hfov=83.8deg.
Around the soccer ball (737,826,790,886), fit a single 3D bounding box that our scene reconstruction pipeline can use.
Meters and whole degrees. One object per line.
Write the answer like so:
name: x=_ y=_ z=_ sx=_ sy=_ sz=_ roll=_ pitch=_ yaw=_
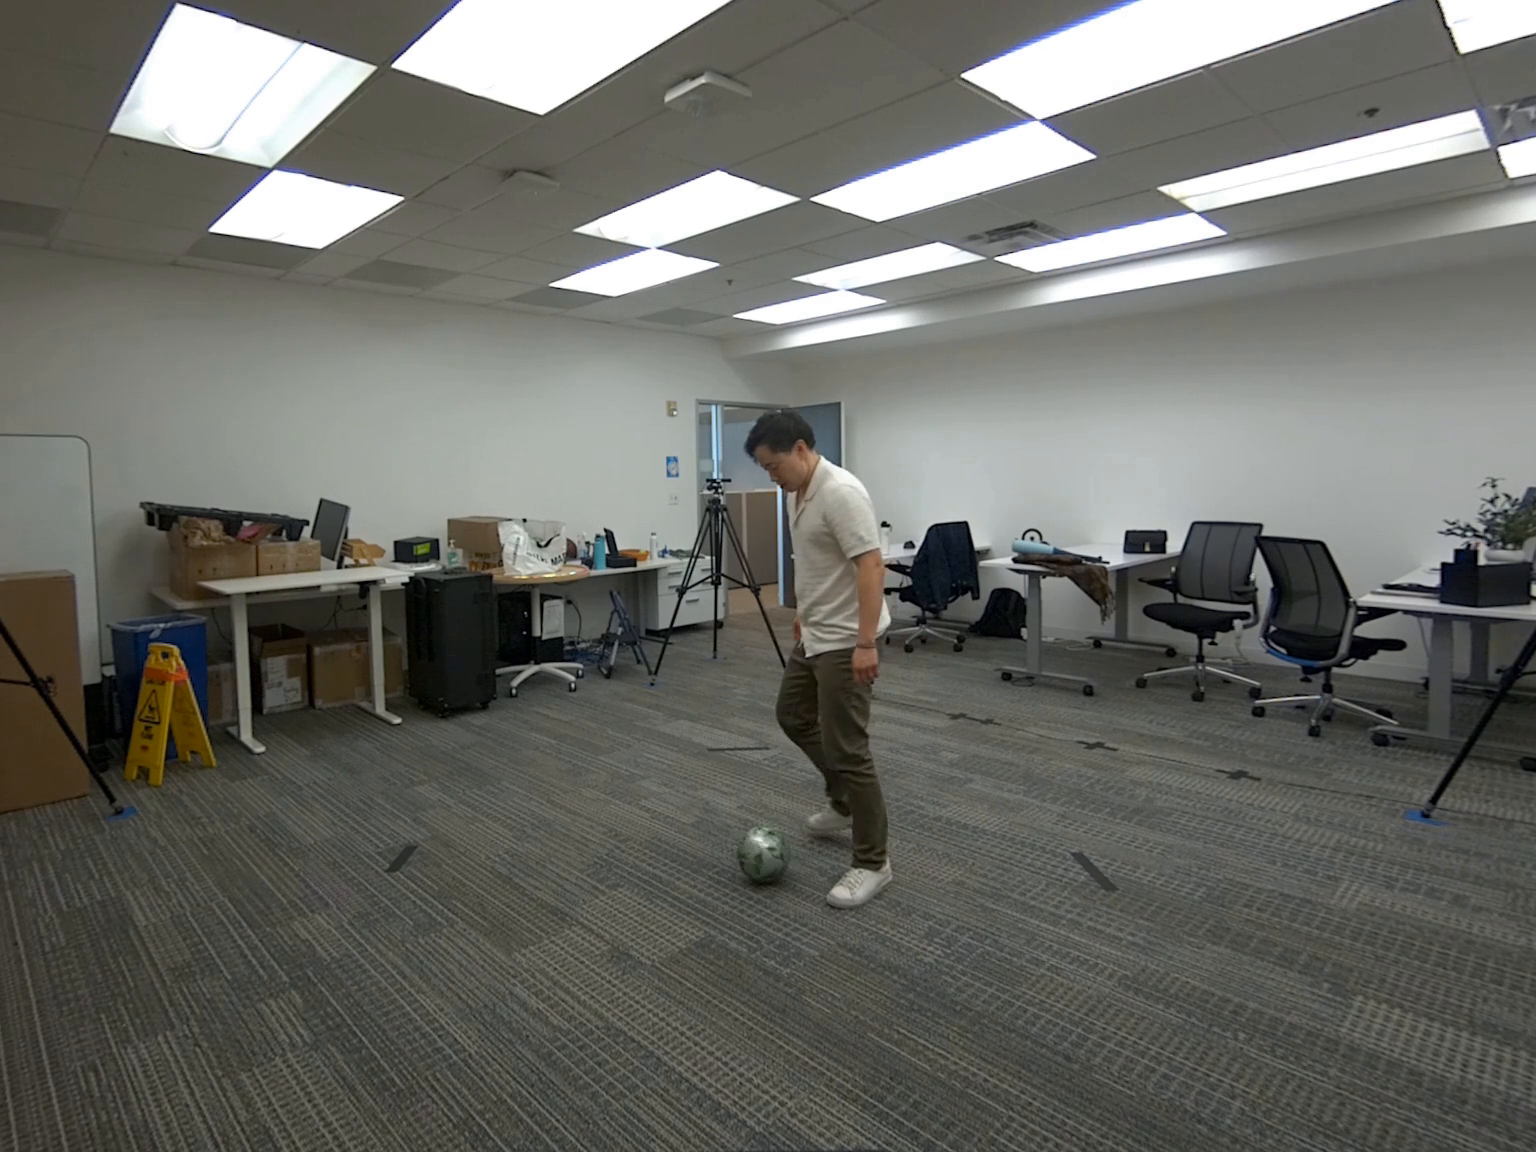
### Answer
soccer ball: x=-0.011 y=0.966 z=2.968 sx=0.187 sy=0.187 sz=0.188 roll=-1 pitch=5 yaw=-2
